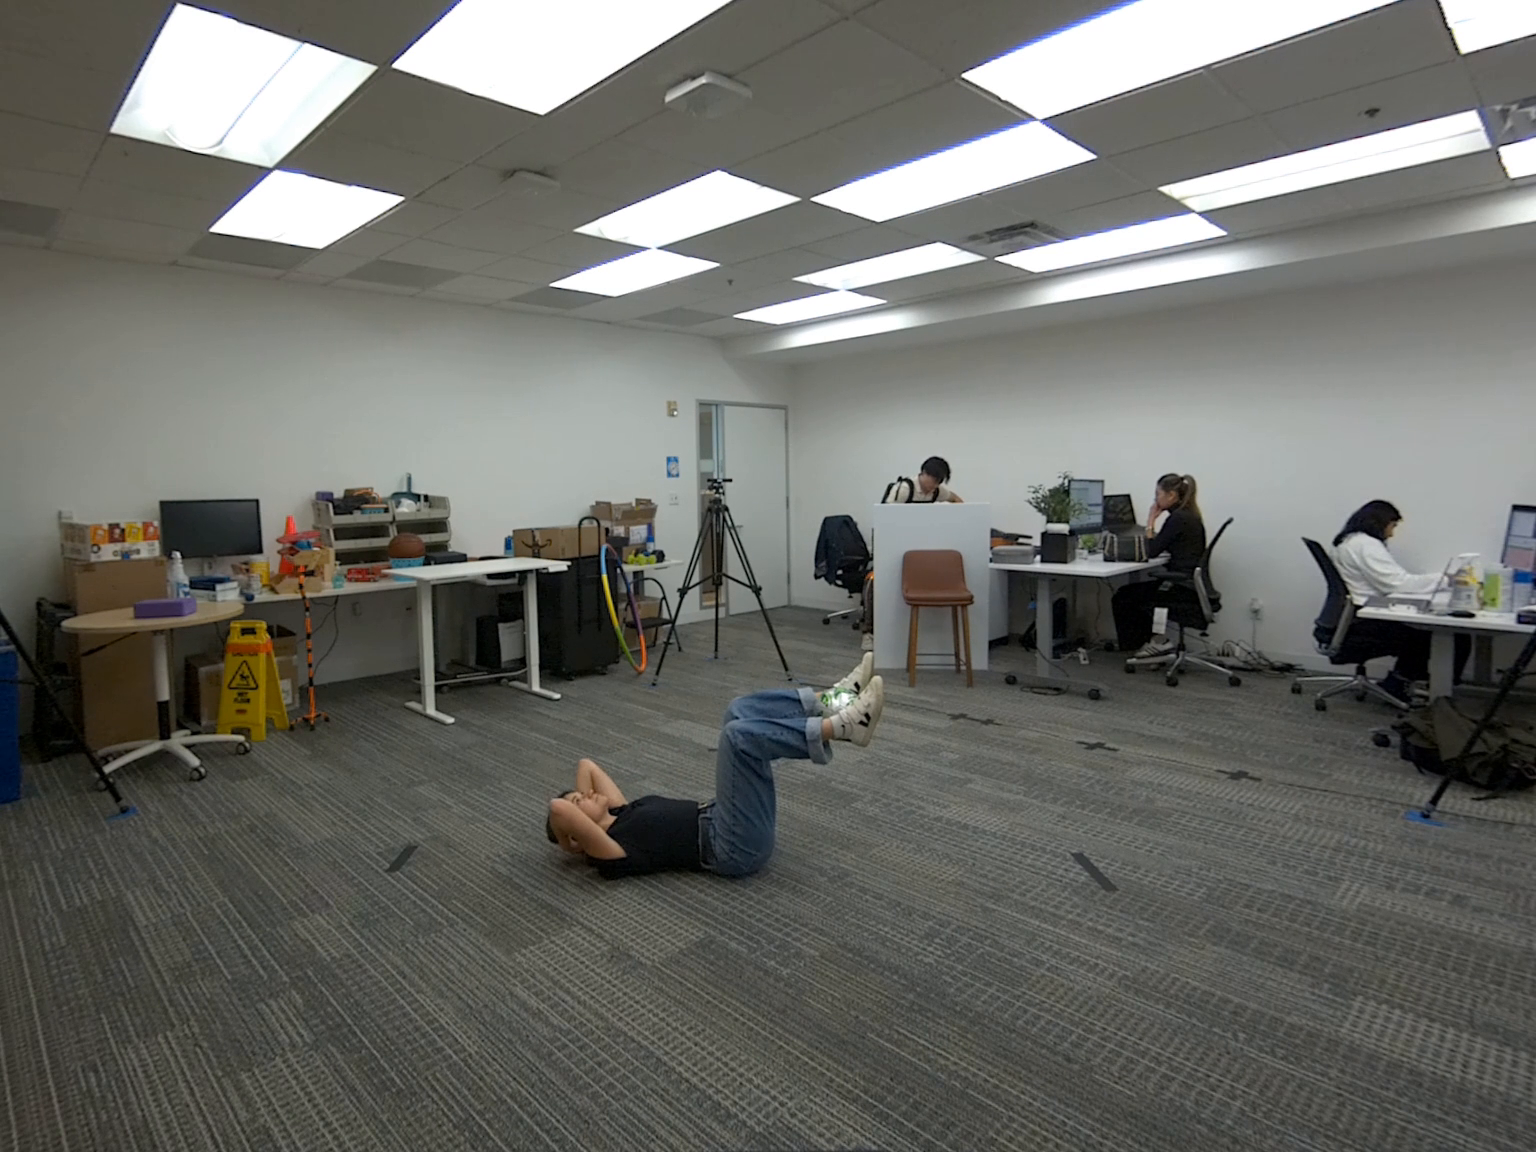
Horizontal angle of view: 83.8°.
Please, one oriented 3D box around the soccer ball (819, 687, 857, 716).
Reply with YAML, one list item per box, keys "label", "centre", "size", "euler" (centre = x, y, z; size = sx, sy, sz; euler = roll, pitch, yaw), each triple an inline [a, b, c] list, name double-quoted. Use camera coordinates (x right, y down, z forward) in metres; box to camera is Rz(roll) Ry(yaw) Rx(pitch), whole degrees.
- label: "soccer ball"
  centre: [0.270, 0.494, 3.061]
  size: [0.187, 0.187, 0.188]
  euler: [0, 1, -2]
